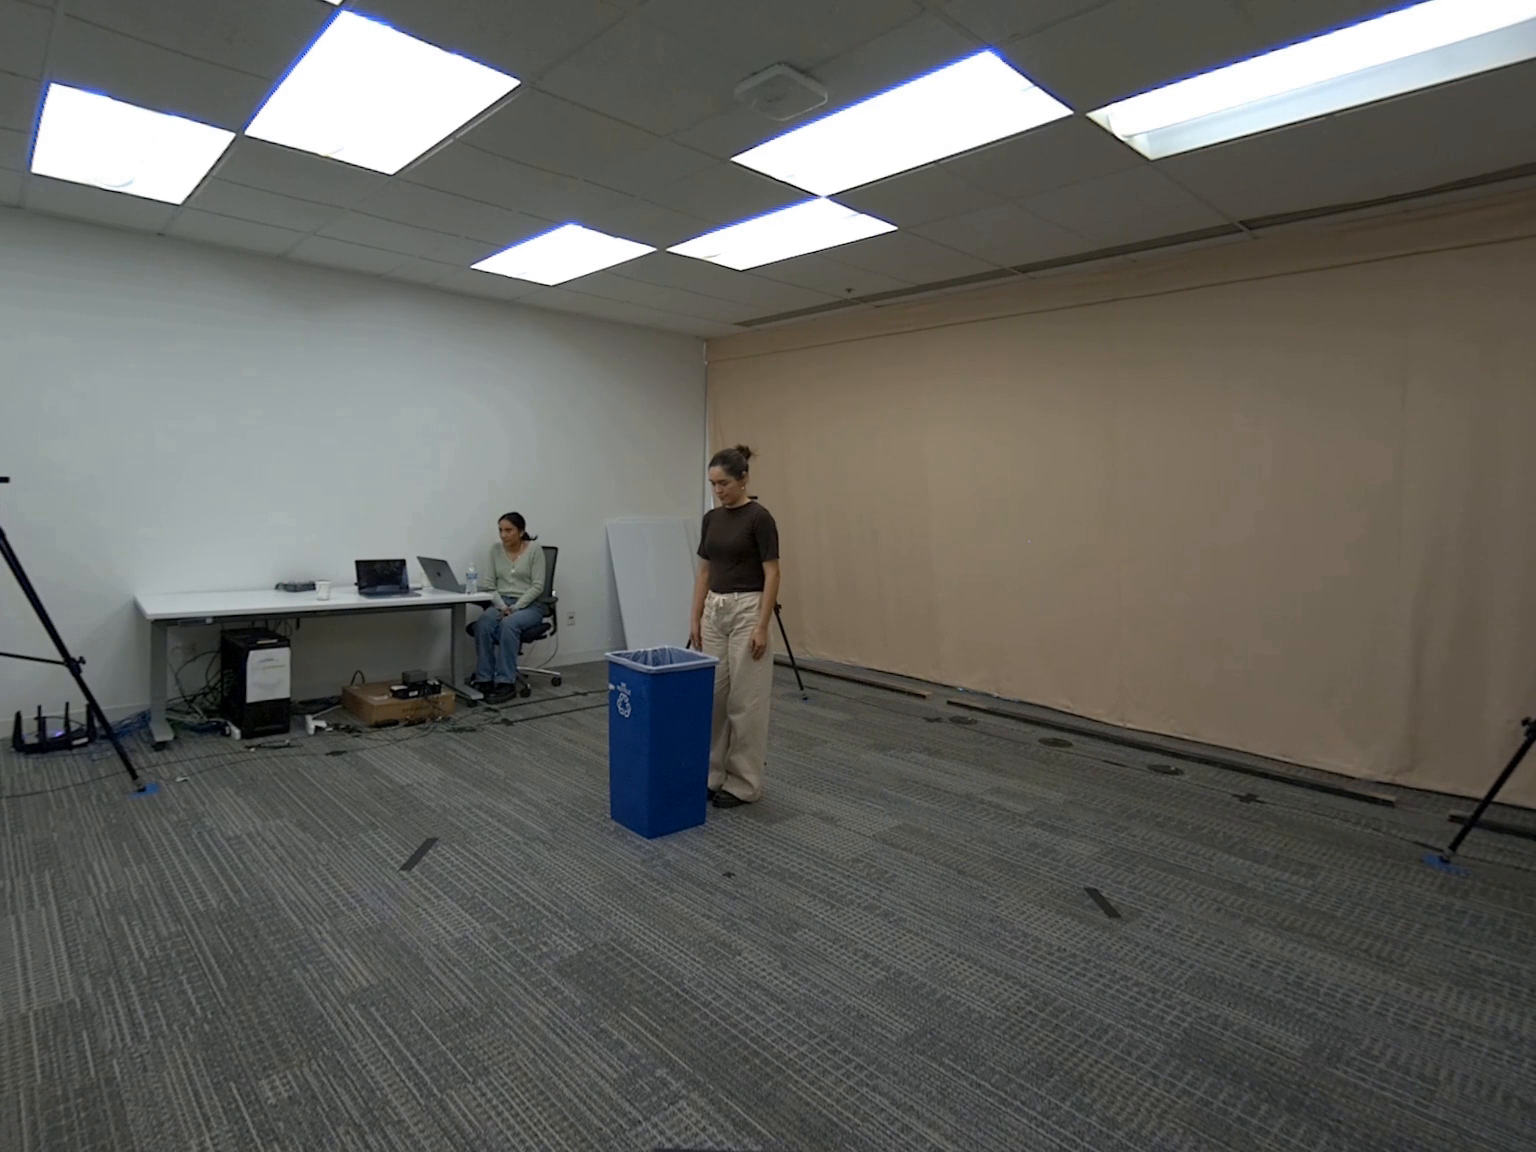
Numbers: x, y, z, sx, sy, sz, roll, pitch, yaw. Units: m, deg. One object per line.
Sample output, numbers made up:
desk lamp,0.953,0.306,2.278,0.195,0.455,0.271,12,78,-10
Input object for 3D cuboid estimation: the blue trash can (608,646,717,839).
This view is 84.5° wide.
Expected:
blue trash can,-0.475,0.695,3.584,0.365,0.712,0.388,-1,5,-41
